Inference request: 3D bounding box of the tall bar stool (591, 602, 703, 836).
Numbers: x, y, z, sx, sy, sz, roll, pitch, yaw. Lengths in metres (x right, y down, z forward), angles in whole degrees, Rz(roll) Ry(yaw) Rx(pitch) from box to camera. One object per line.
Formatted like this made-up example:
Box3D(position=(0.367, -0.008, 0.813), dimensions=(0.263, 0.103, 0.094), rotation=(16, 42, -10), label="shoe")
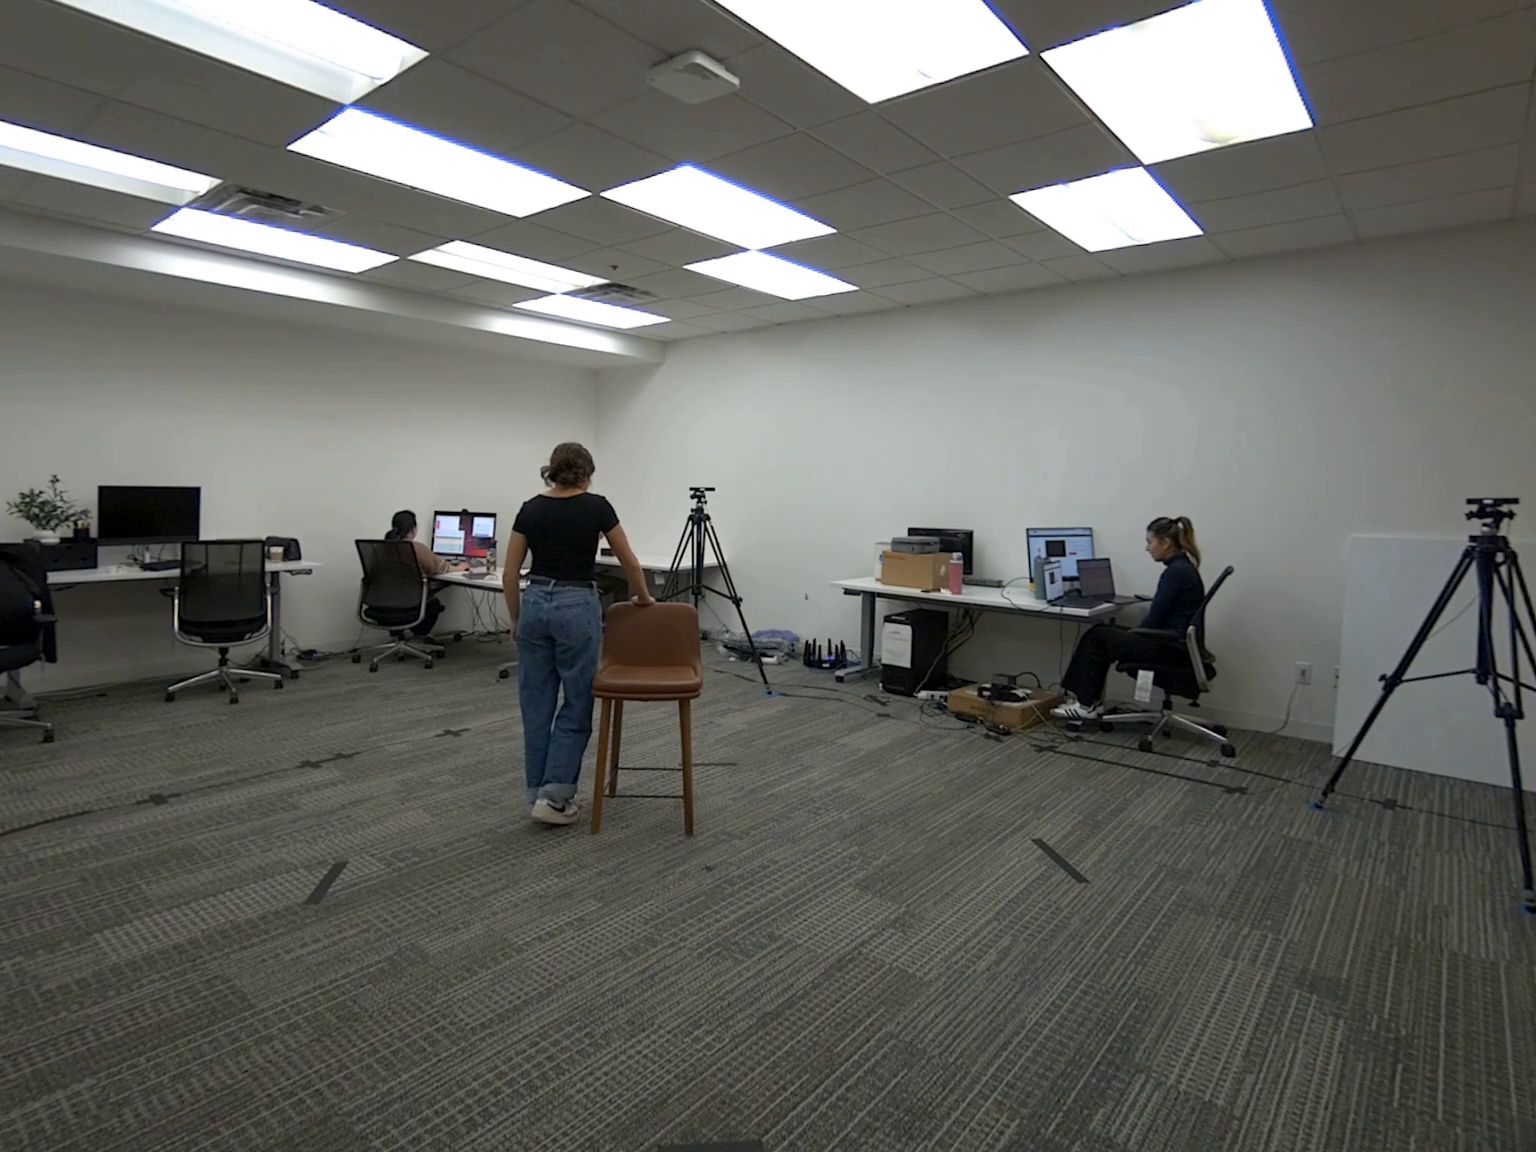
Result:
Box3D(position=(-0.517, 0.577, 3.608), dimensions=(0.456, 0.889, 0.469), rotation=(0, 1, -2), label="tall bar stool")
